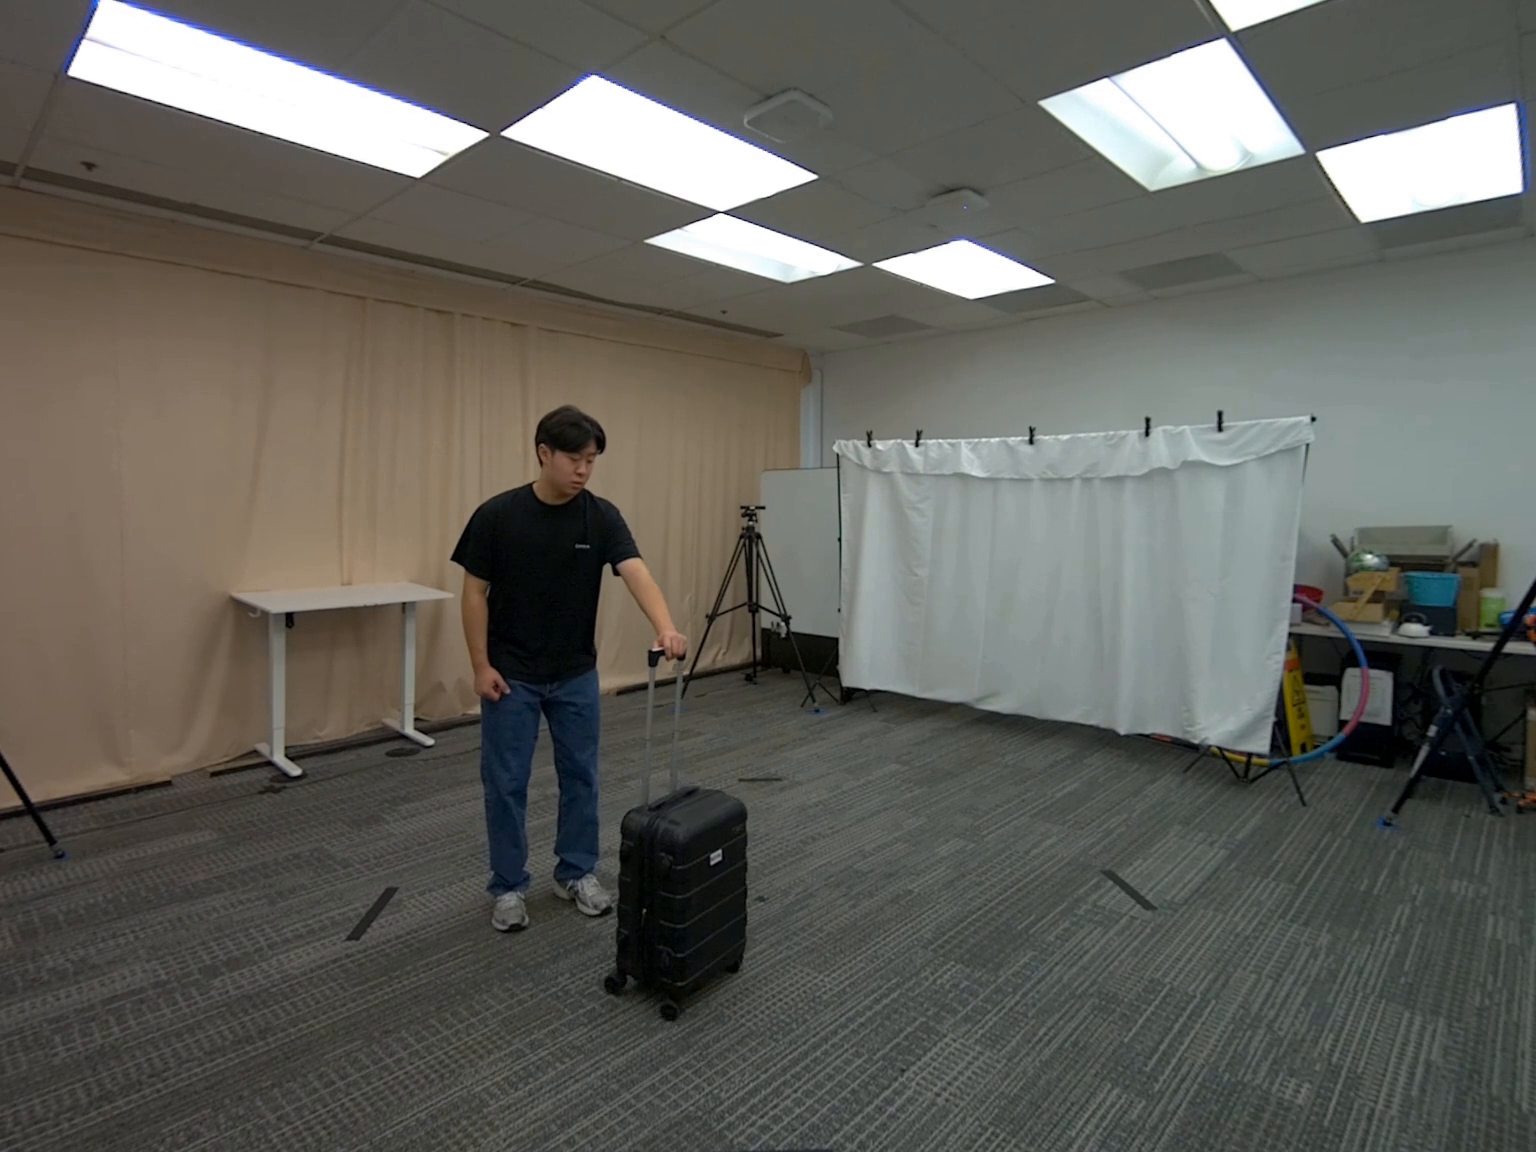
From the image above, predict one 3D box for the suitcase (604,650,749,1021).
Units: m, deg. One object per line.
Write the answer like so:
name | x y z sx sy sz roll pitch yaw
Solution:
suitcase | -0.232 0.717 2.432 0.265 0.975 0.373 8 7 34
